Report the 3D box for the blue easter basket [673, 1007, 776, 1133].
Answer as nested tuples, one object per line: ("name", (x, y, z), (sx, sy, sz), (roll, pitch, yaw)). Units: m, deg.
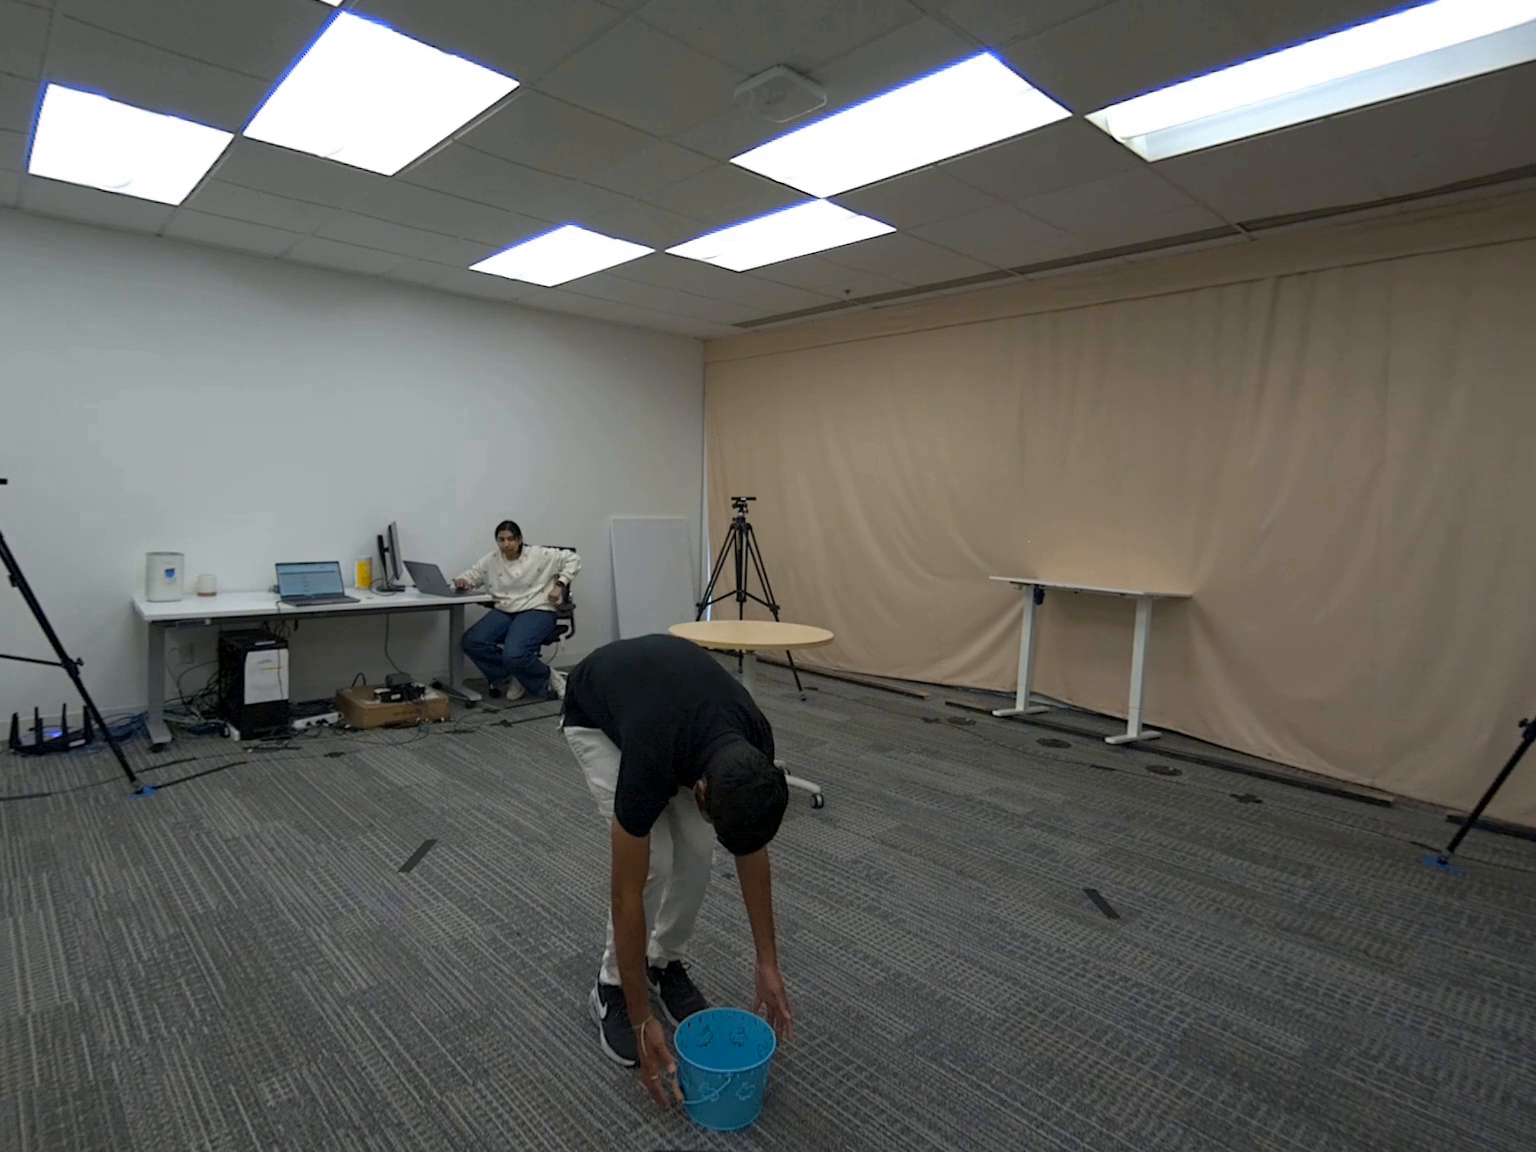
("blue easter basket", (-0.114, 1.140, 1.943), (0.243, 0.155, 0.244), (4, 4, -2))
